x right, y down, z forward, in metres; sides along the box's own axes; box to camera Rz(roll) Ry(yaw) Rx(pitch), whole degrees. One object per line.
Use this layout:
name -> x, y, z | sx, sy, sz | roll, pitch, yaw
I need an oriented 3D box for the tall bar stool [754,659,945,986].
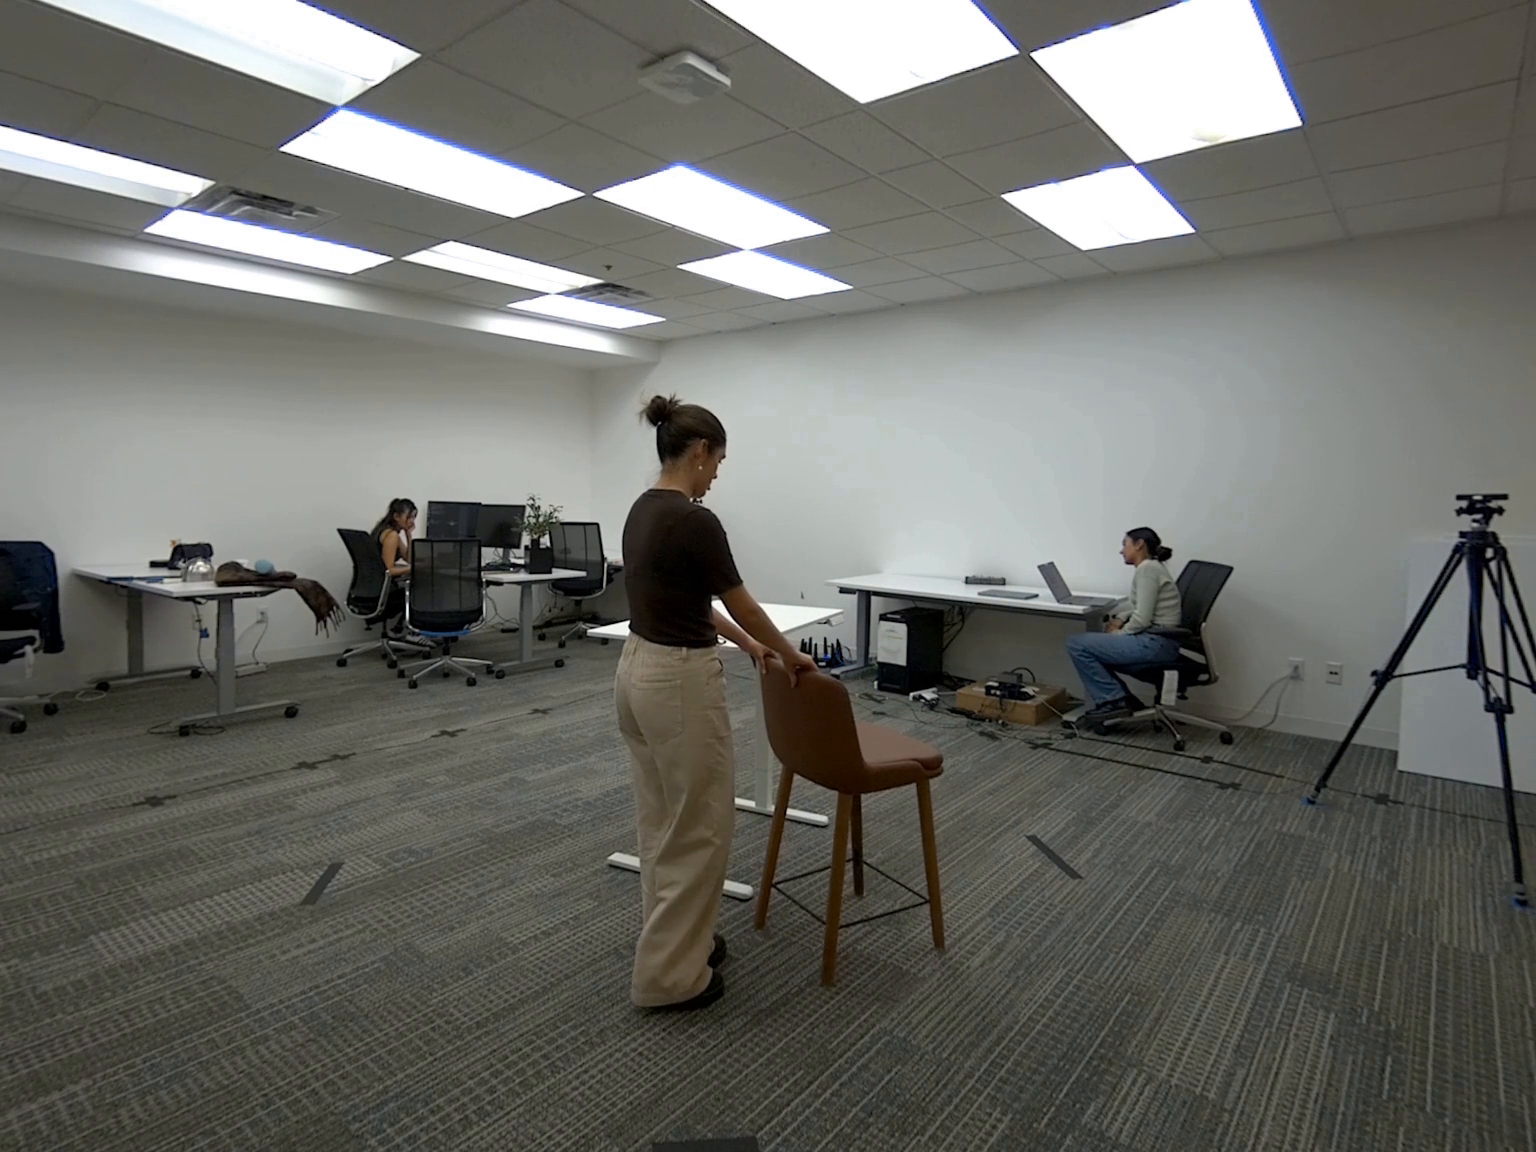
tall bar stool -> 0.238, 0.684, 2.621 | 0.455, 0.886, 0.471 | -4, 6, -32
